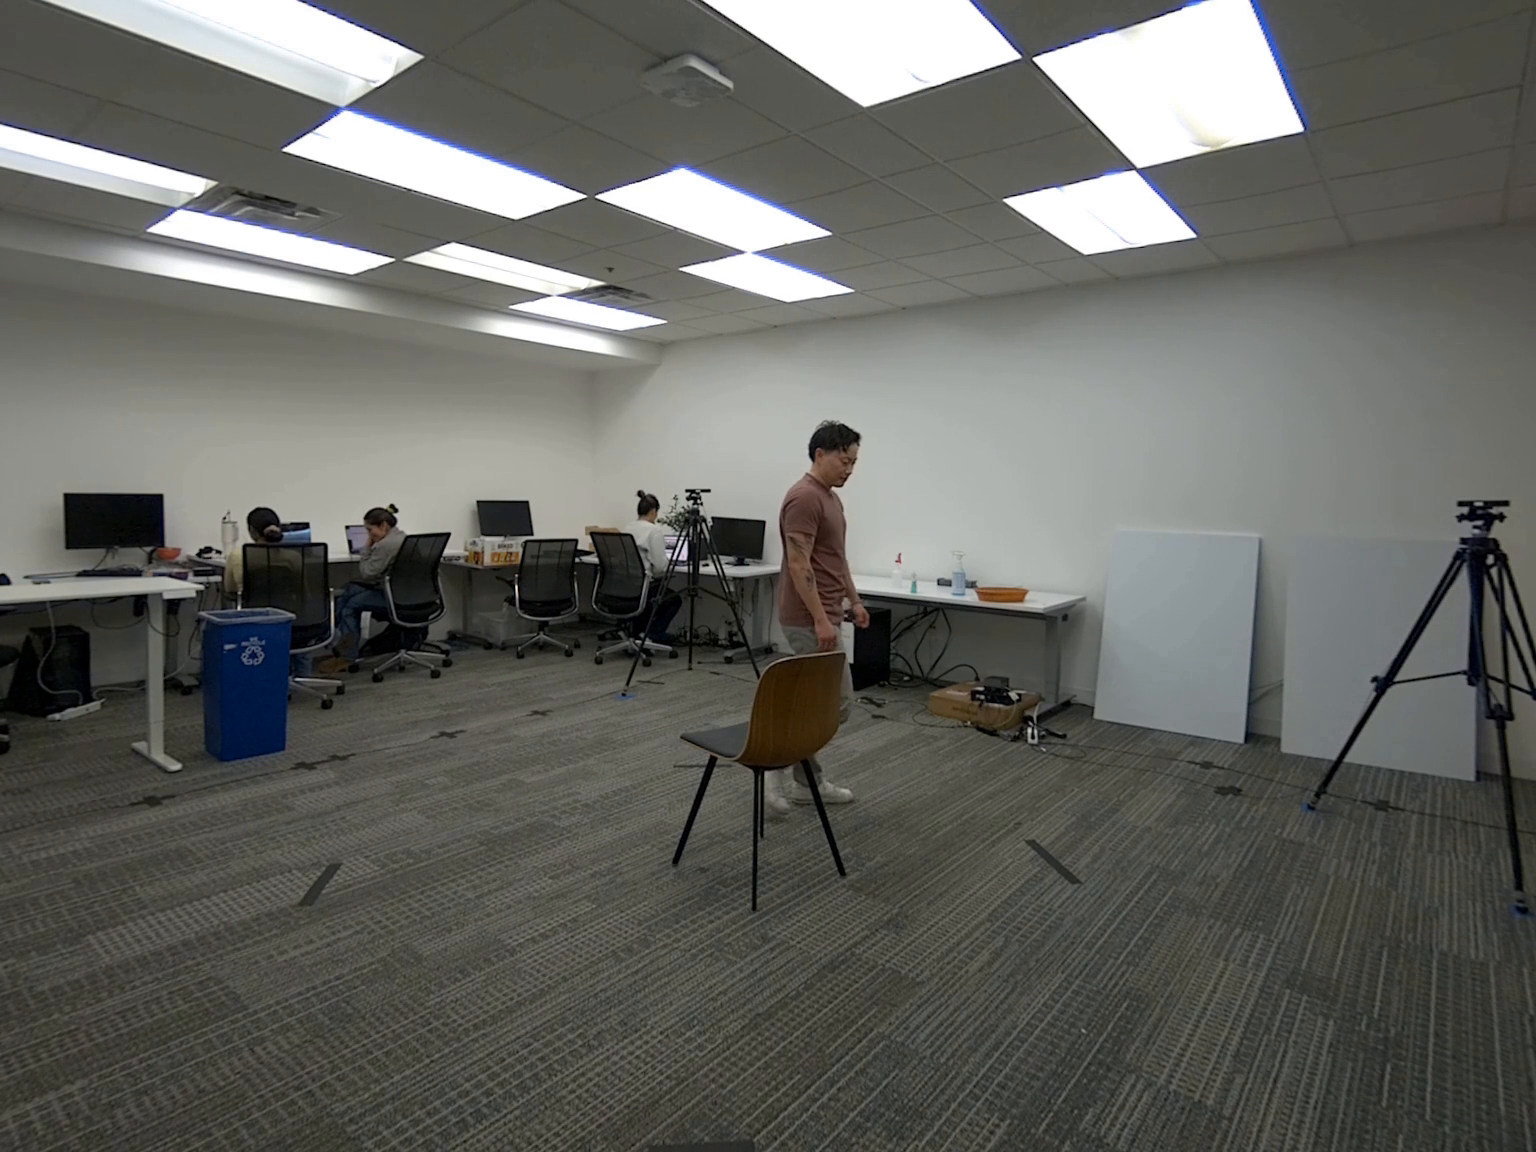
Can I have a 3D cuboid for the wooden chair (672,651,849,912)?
[{"bbox_3d":[-0.039,0.650,3.100,0.463,0.872,0.542,-1,9,-42],"label":"wooden chair"}]
